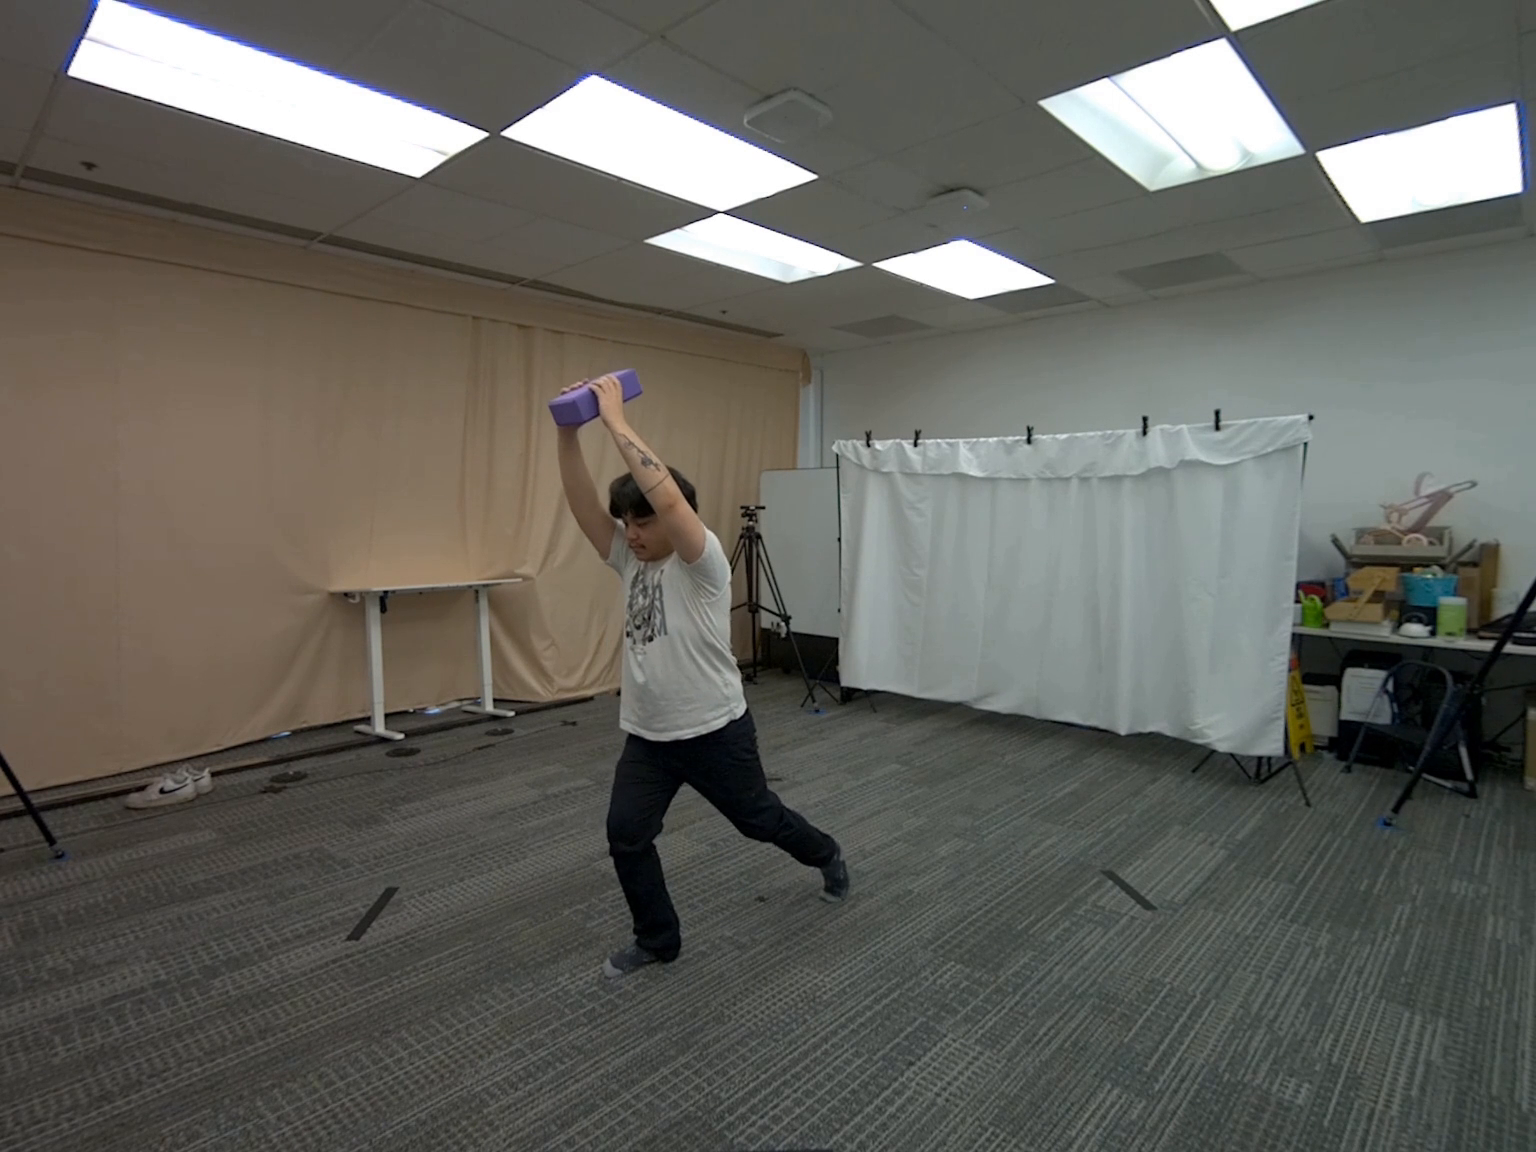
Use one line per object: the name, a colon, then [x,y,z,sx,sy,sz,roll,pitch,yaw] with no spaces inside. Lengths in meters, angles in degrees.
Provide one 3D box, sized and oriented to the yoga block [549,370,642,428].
yoga block: [-0.481,-0.504,2.376,0.154,0.075,0.226,6,34,47]
